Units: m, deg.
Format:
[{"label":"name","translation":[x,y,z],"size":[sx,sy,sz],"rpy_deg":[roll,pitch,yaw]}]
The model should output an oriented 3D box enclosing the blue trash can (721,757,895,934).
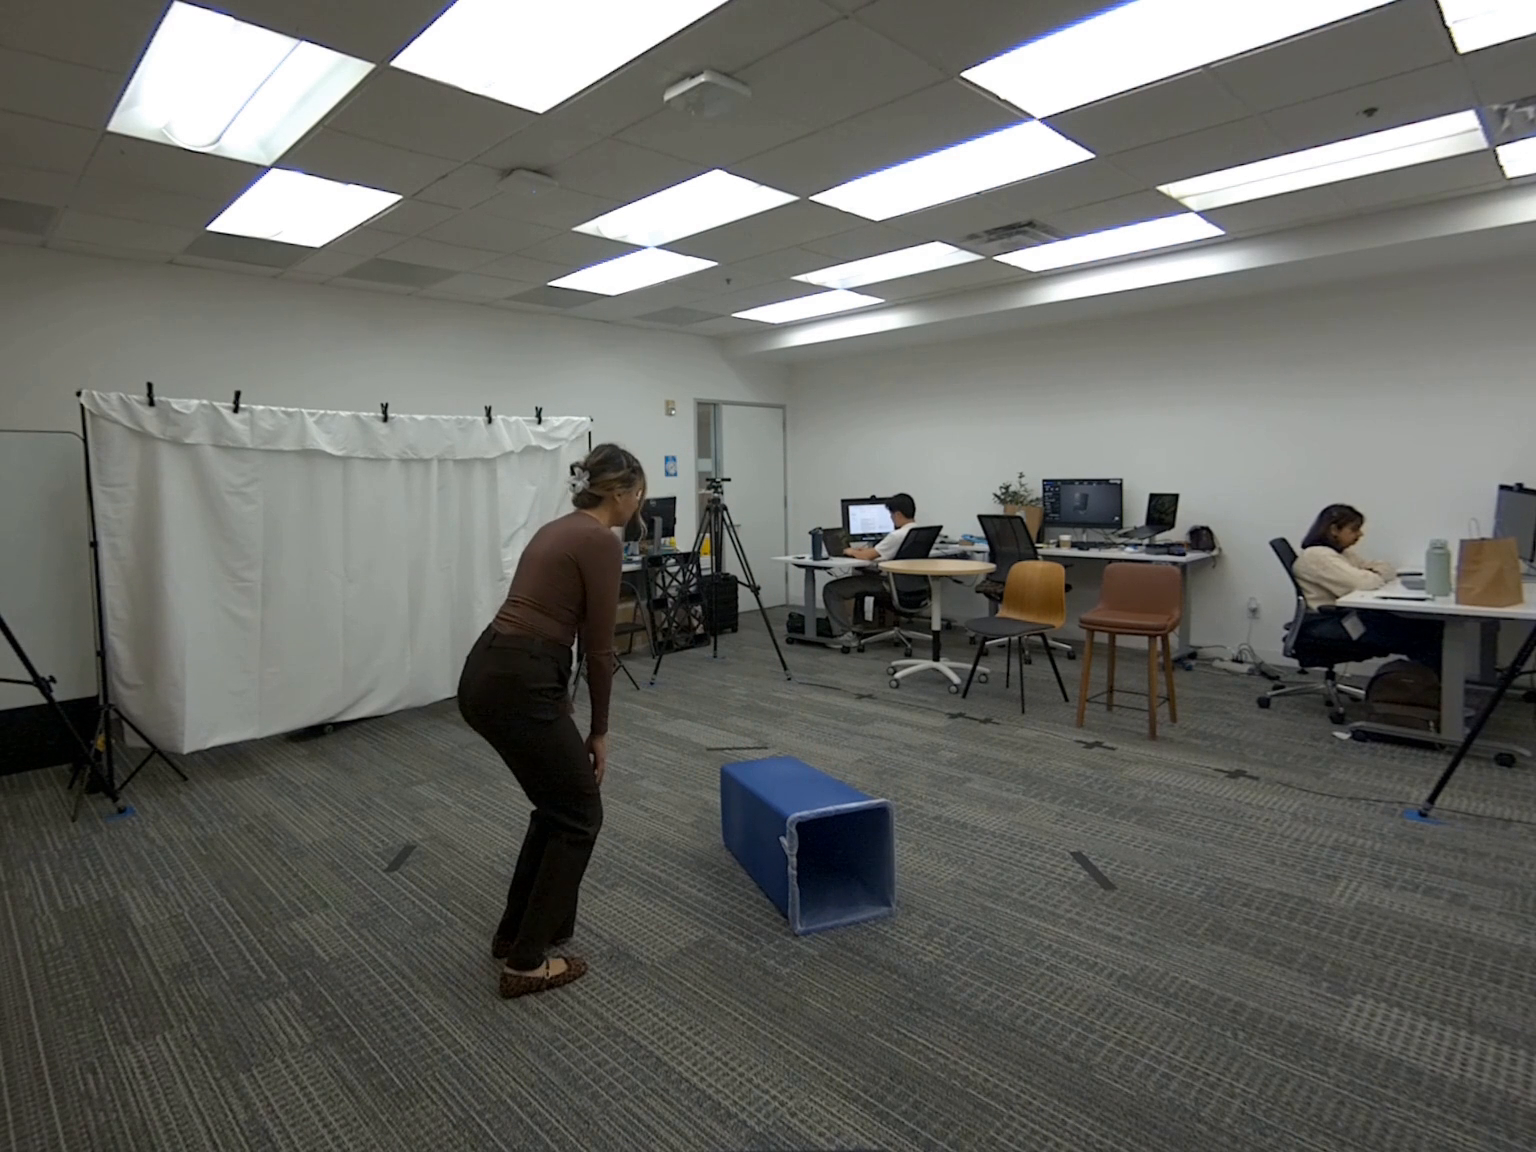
[{"label":"blue trash can","translation":[0.104,0.879,2.991],"size":[0.367,0.377,0.729],"rpy_deg":[-4,5,-21]}]
